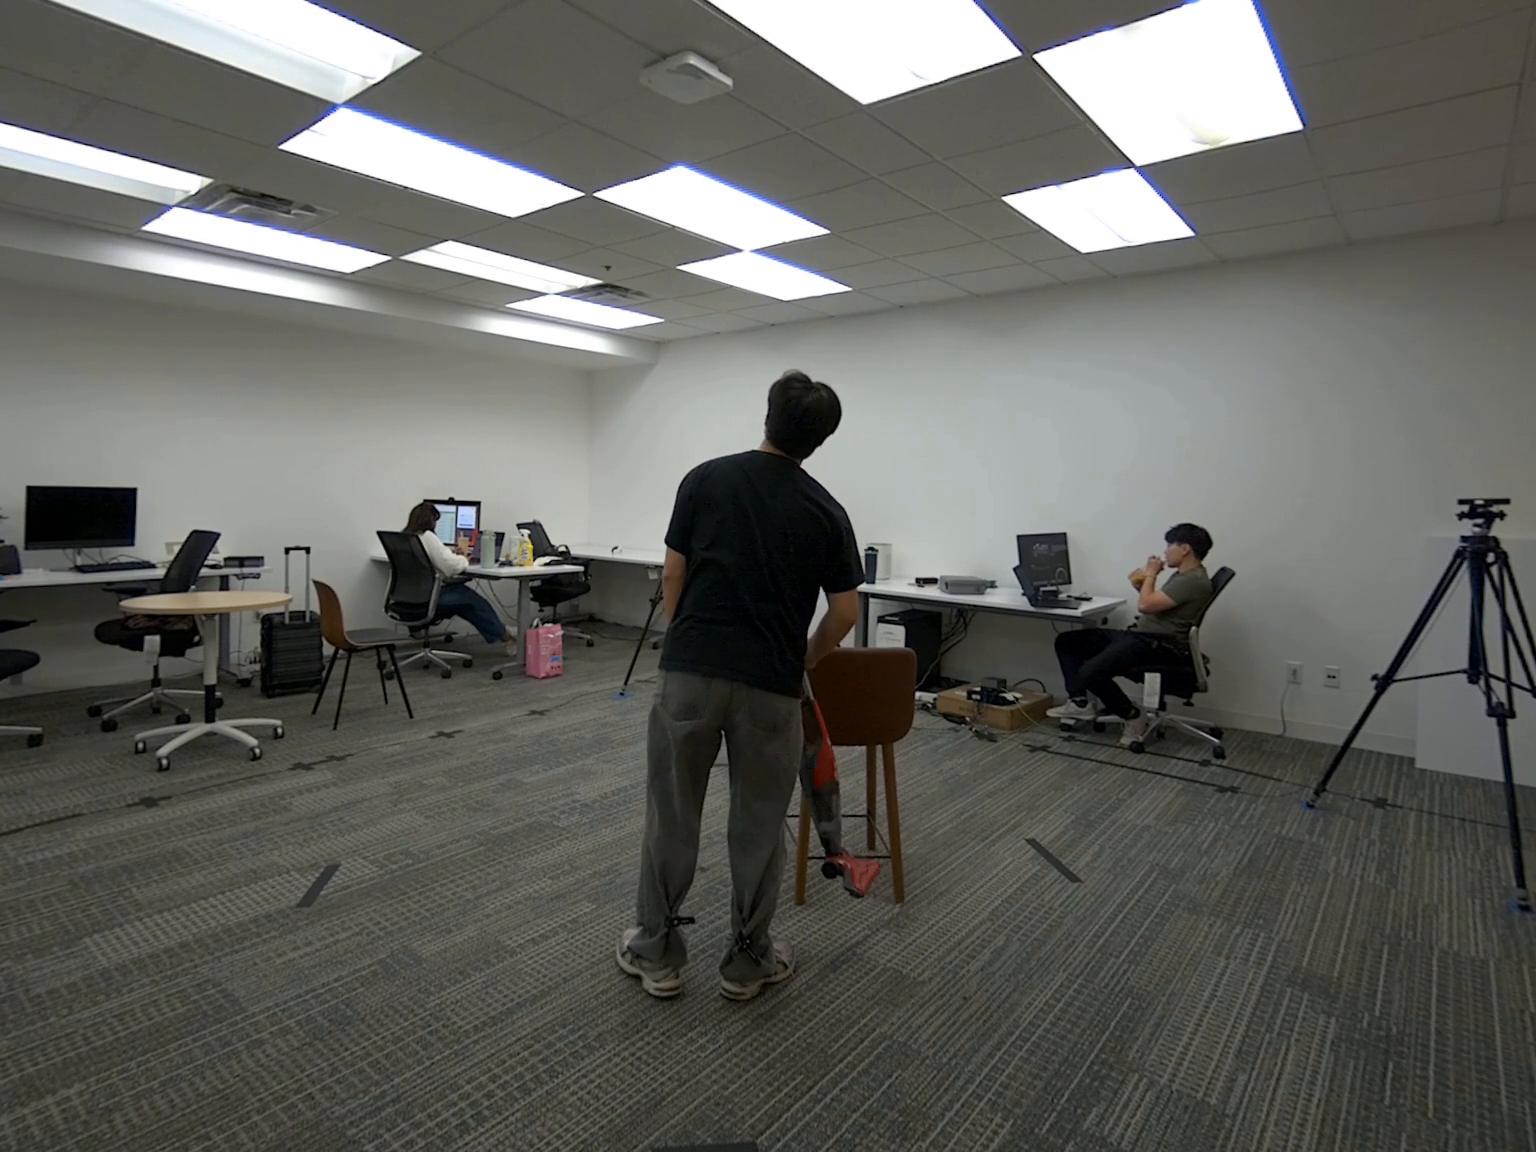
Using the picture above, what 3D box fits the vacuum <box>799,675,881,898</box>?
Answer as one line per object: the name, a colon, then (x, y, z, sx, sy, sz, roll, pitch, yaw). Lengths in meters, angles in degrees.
vacuum: (0.089, 0.394, 2.622, 0.146, 1.060, 0.246, -20, -9, 26)
